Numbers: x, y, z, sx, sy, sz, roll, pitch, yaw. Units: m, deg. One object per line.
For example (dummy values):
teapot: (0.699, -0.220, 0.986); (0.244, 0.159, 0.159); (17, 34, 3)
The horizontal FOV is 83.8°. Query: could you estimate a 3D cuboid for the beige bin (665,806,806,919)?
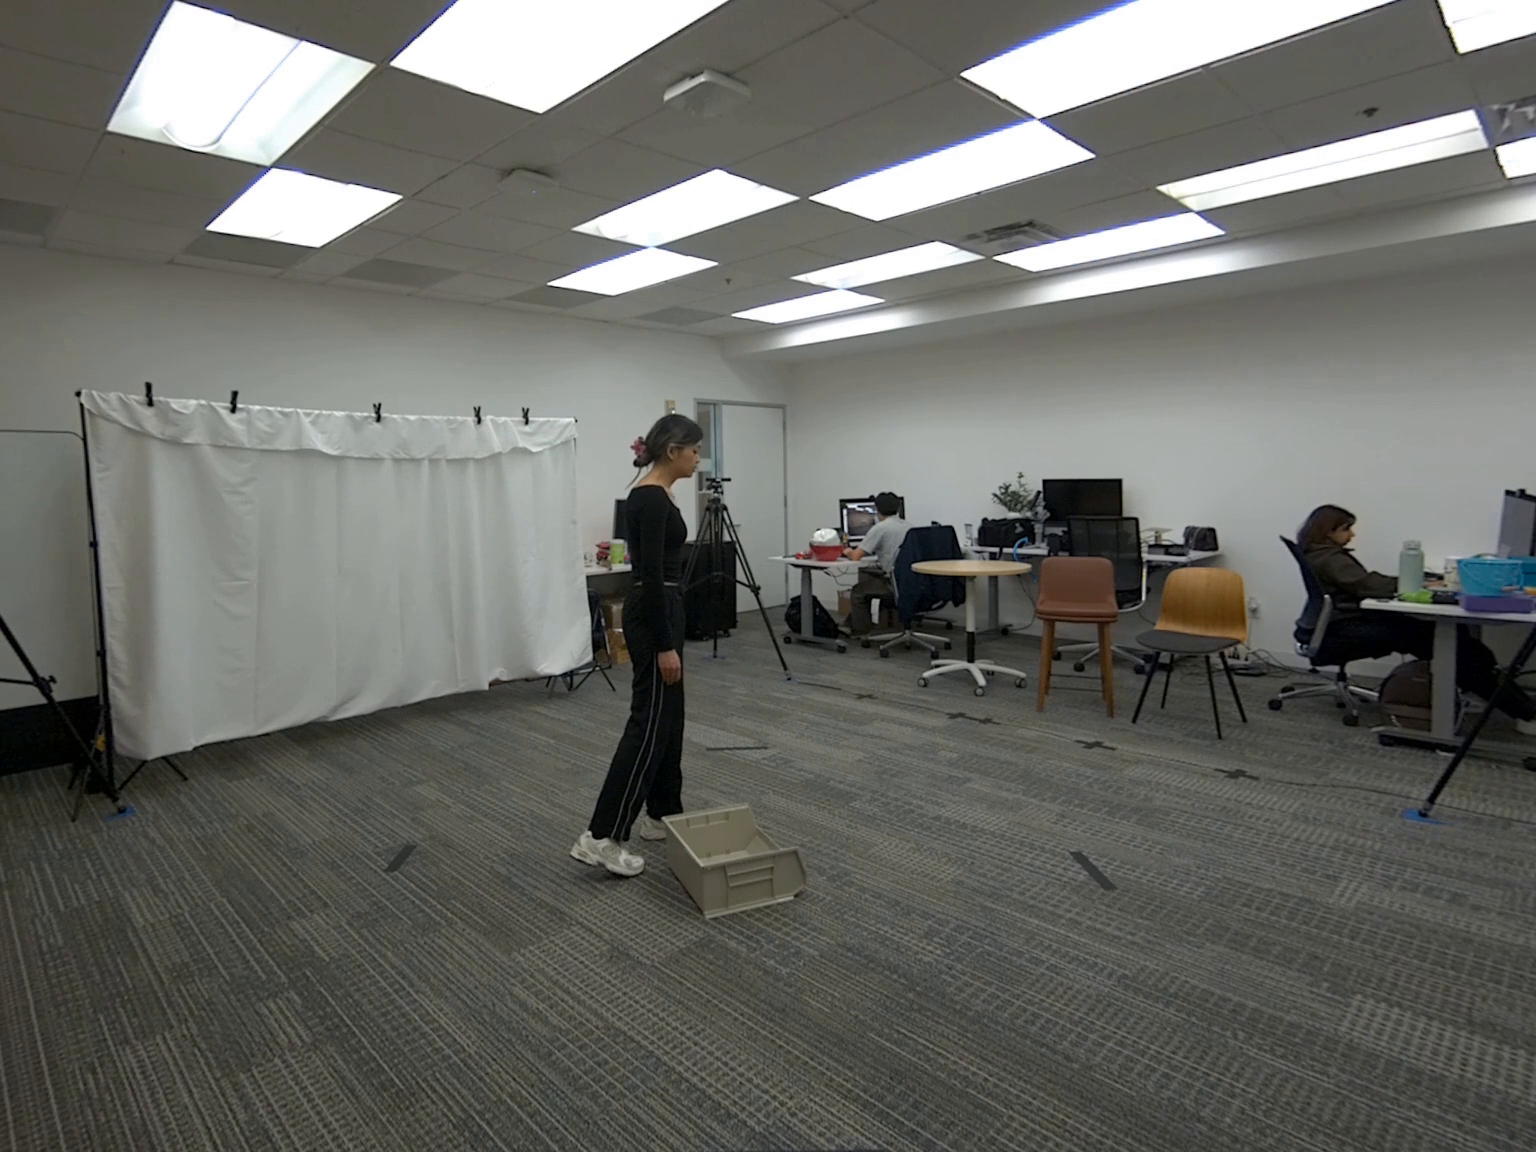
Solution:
beige bin: (-0.122, 0.972, 2.962); (0.370, 0.188, 0.433); (-5, 8, -23)
